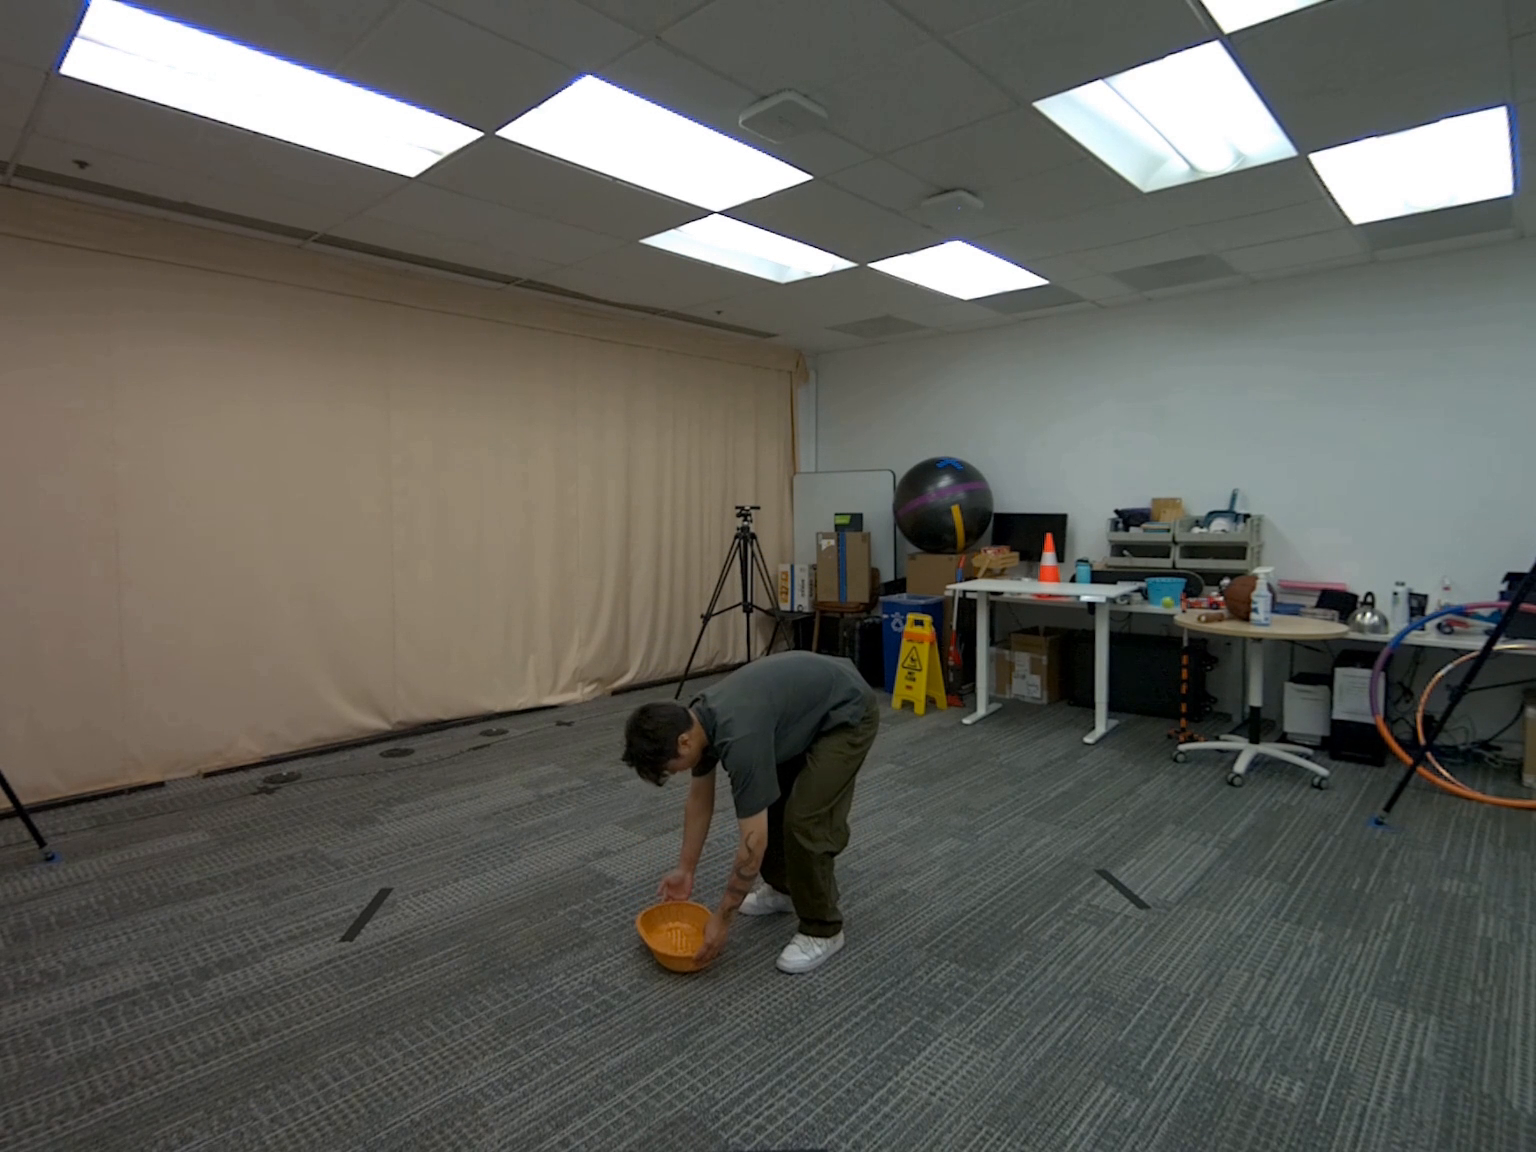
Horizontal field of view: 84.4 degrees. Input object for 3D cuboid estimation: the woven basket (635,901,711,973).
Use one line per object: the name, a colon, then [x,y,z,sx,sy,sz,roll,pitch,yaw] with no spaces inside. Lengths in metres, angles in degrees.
woven basket: [-0.276,1.122,2.611,0.246,0.073,0.360,-4,6,-25]
